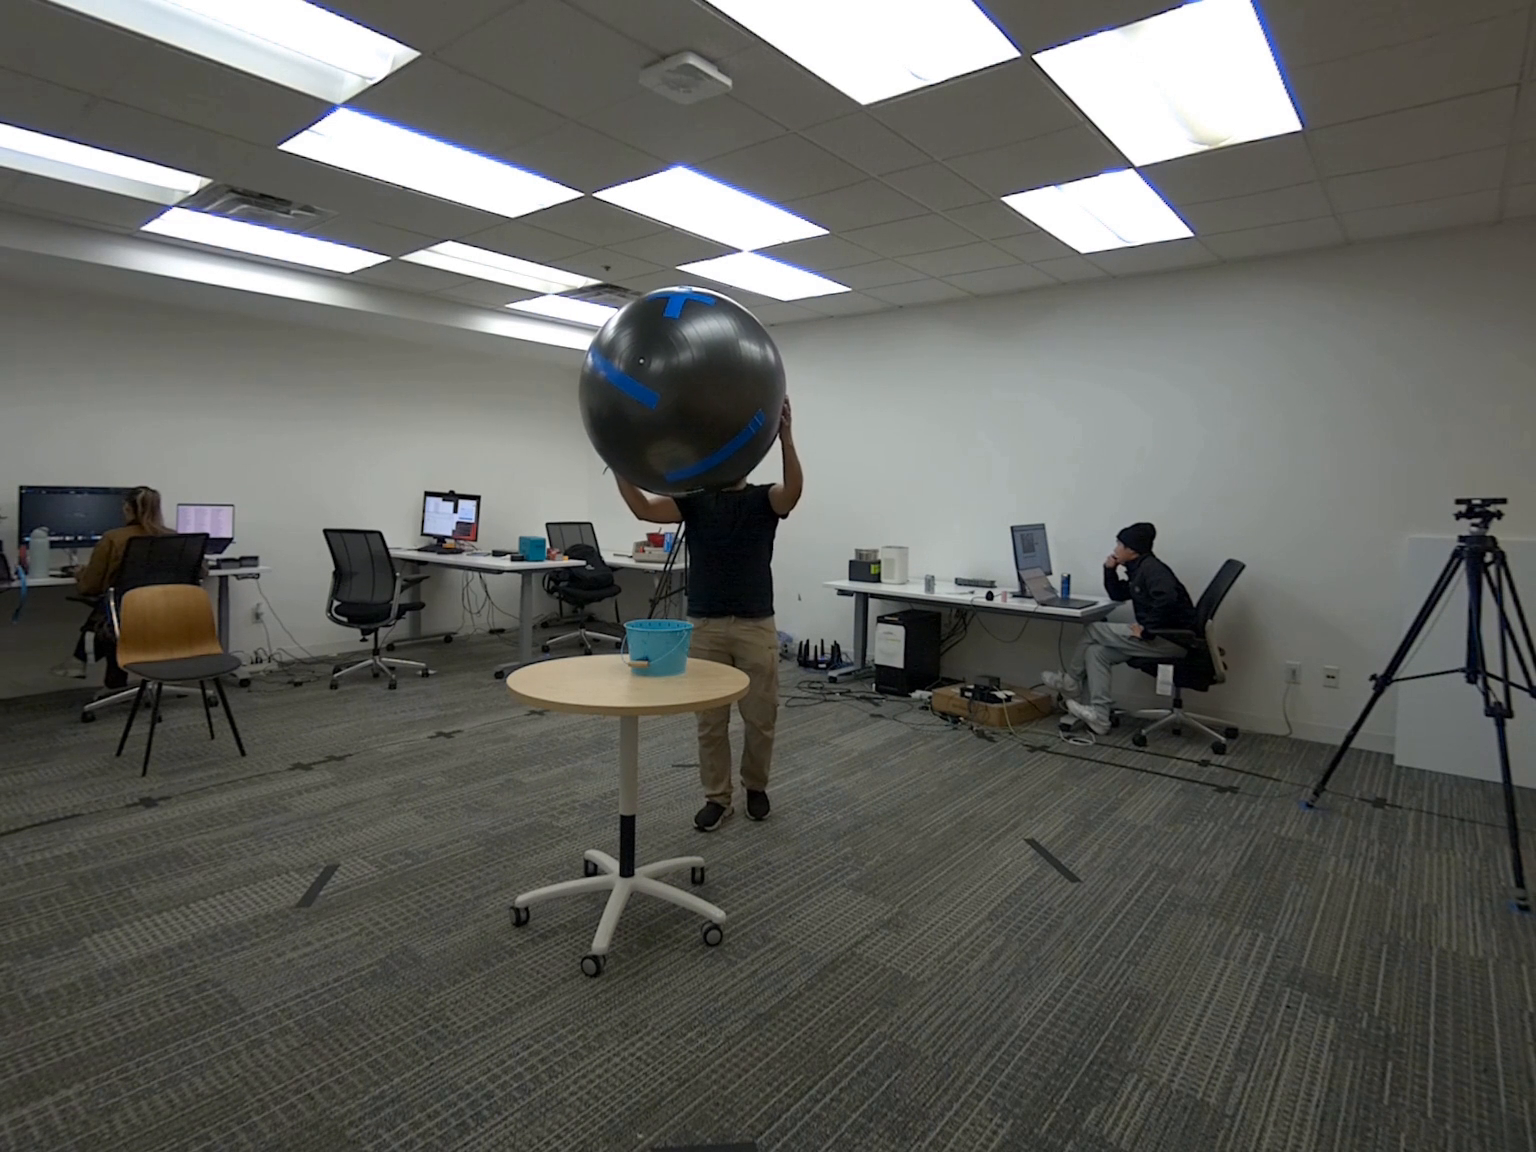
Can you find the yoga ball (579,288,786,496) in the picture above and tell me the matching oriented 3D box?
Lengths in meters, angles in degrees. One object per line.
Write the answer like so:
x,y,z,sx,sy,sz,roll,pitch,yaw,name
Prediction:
-0.319,-0.660,3.115,0.757,0.755,0.762,1,4,-2,yoga ball
